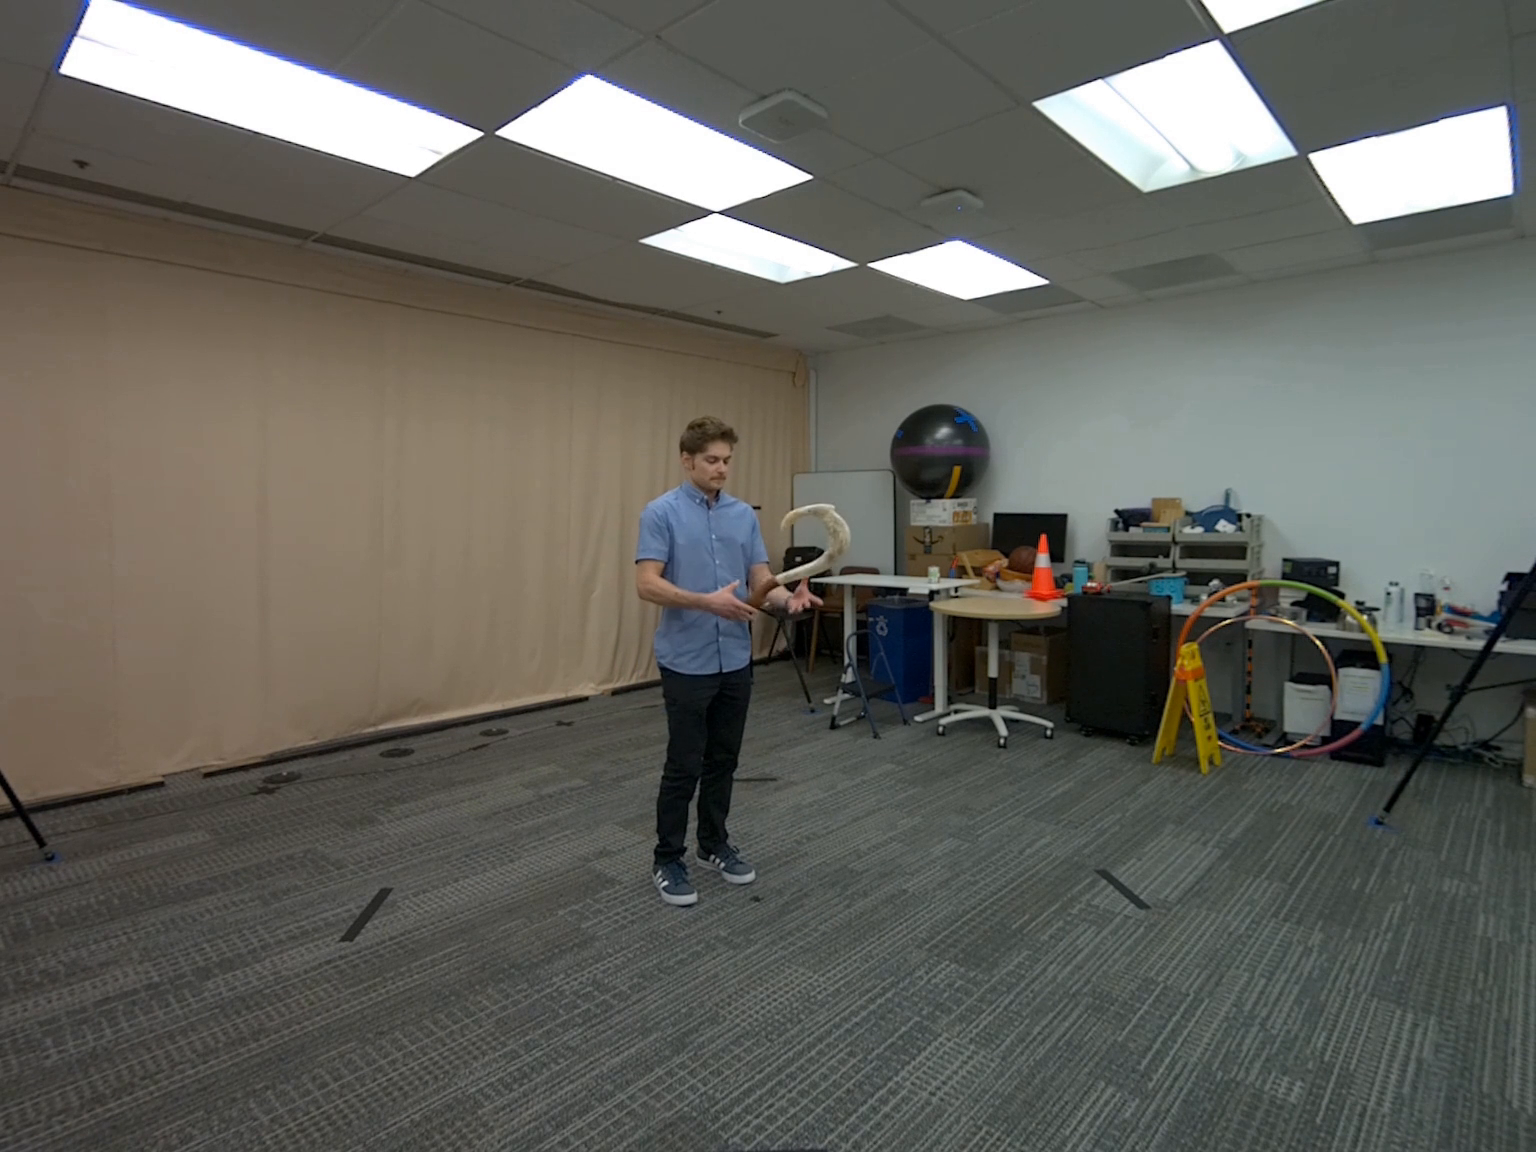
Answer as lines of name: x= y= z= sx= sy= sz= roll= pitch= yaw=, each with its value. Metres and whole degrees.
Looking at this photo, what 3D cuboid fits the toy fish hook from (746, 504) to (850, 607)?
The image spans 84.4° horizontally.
toy fish hook: x=0.050 y=-0.014 z=2.814 sx=0.512 sy=0.227 sz=0.047 roll=-37 pitch=-12 yaw=25
